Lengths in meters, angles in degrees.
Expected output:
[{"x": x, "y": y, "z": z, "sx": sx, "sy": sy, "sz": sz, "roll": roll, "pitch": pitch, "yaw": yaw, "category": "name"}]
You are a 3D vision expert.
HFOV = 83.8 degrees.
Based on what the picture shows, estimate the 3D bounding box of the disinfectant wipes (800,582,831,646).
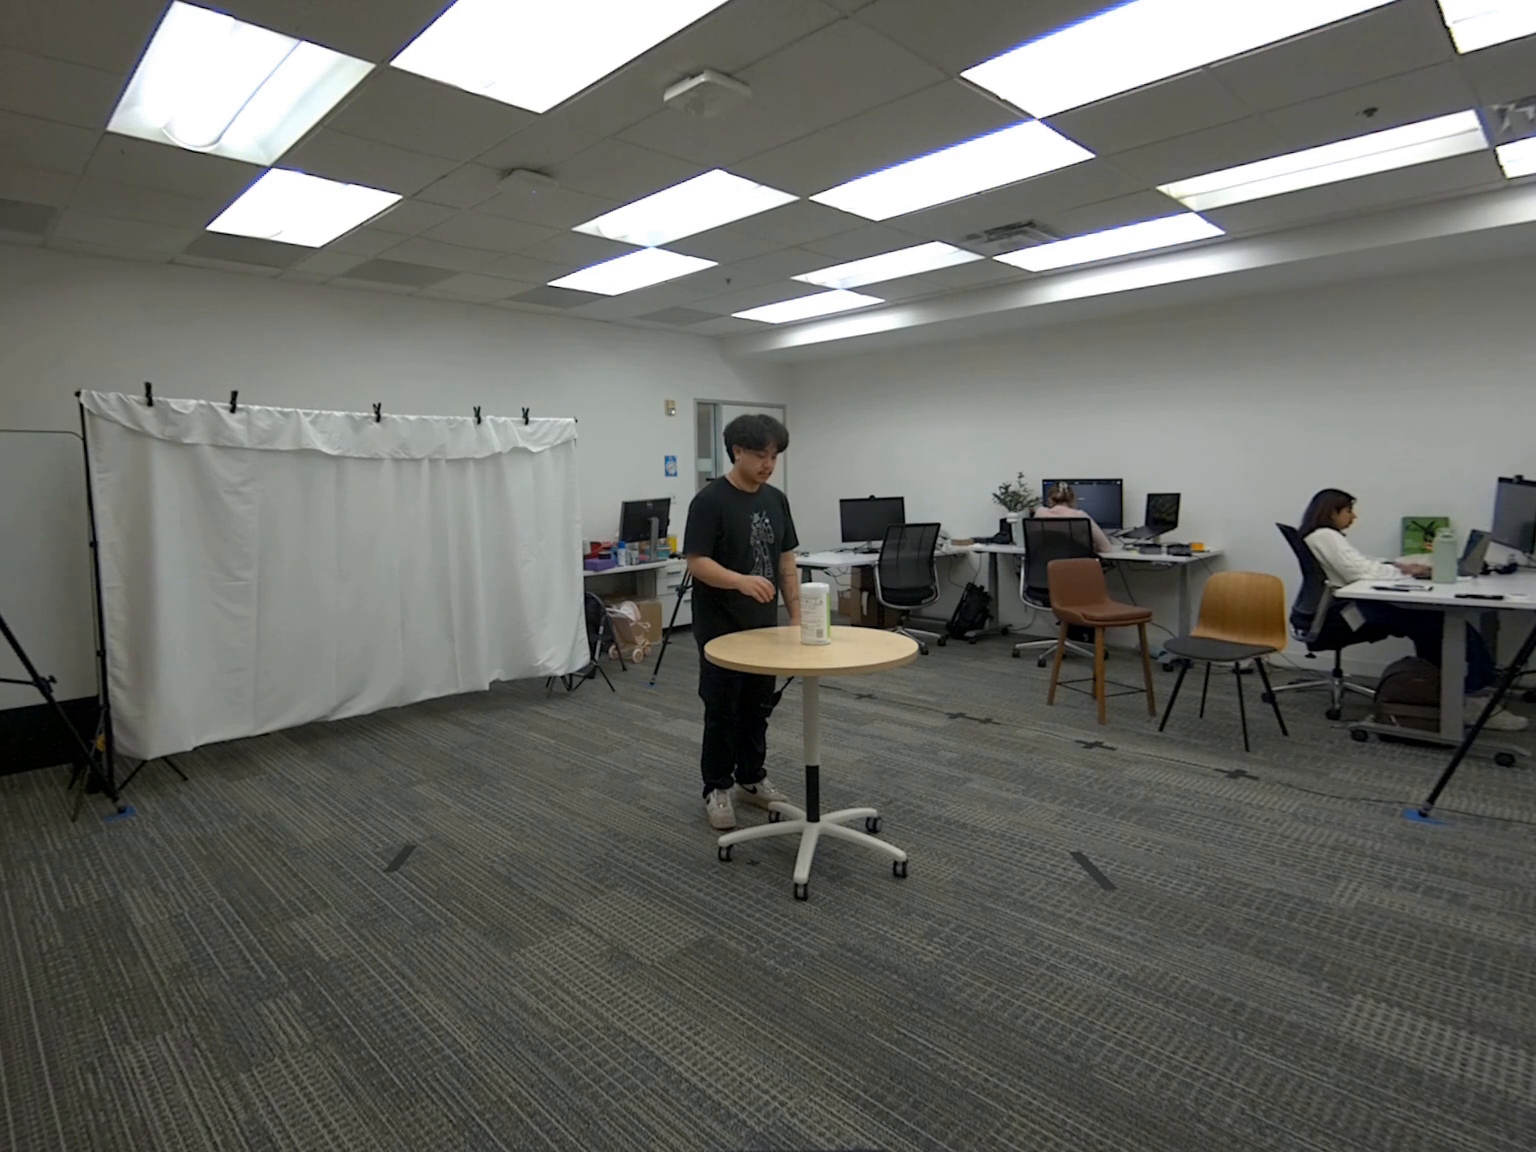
[{"x": 0.167, "y": 0.140, "z": 3.118, "sx": 0.118, "sy": 0.217, "sz": 0.118, "roll": -1, "pitch": 4, "yaw": -2, "category": "disinfectant wipes"}]
